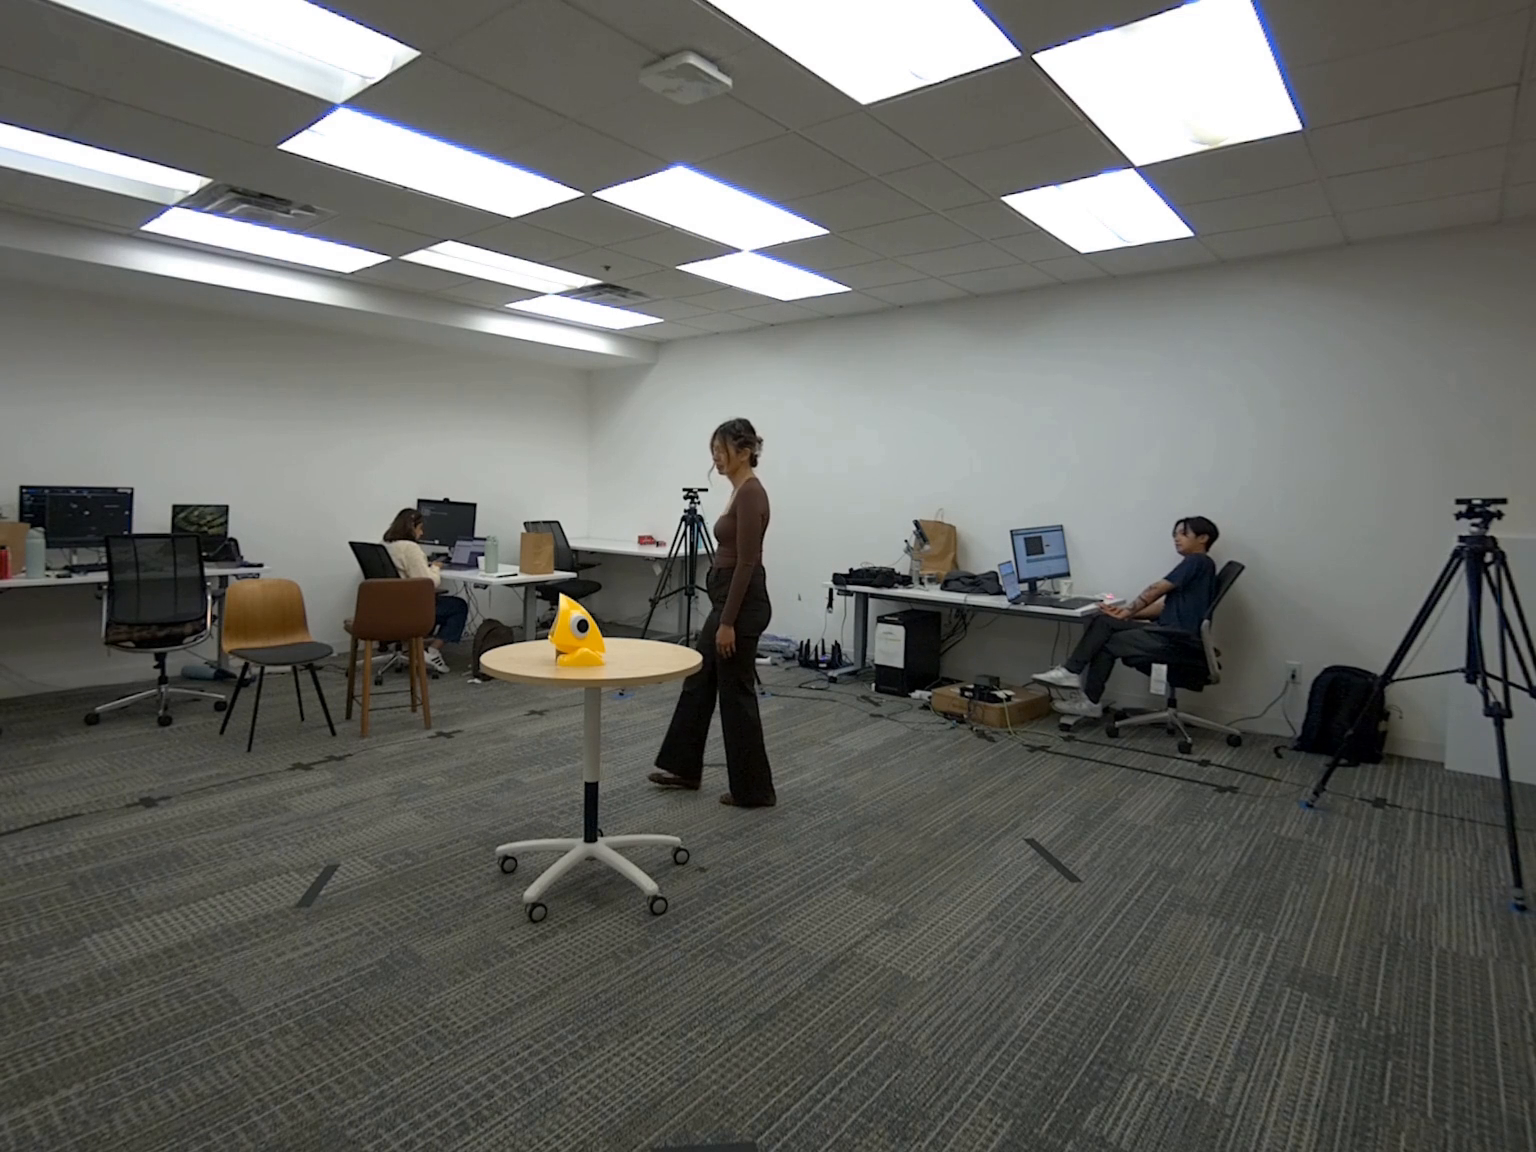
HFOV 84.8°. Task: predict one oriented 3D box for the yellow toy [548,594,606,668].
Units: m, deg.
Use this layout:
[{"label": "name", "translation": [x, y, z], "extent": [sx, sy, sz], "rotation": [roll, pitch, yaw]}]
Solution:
[{"label": "yellow toy", "translation": [-0.655, 0.171, 2.872], "extent": [0.190, 0.230, 0.208], "rotation": [0, 4, -15]}]
